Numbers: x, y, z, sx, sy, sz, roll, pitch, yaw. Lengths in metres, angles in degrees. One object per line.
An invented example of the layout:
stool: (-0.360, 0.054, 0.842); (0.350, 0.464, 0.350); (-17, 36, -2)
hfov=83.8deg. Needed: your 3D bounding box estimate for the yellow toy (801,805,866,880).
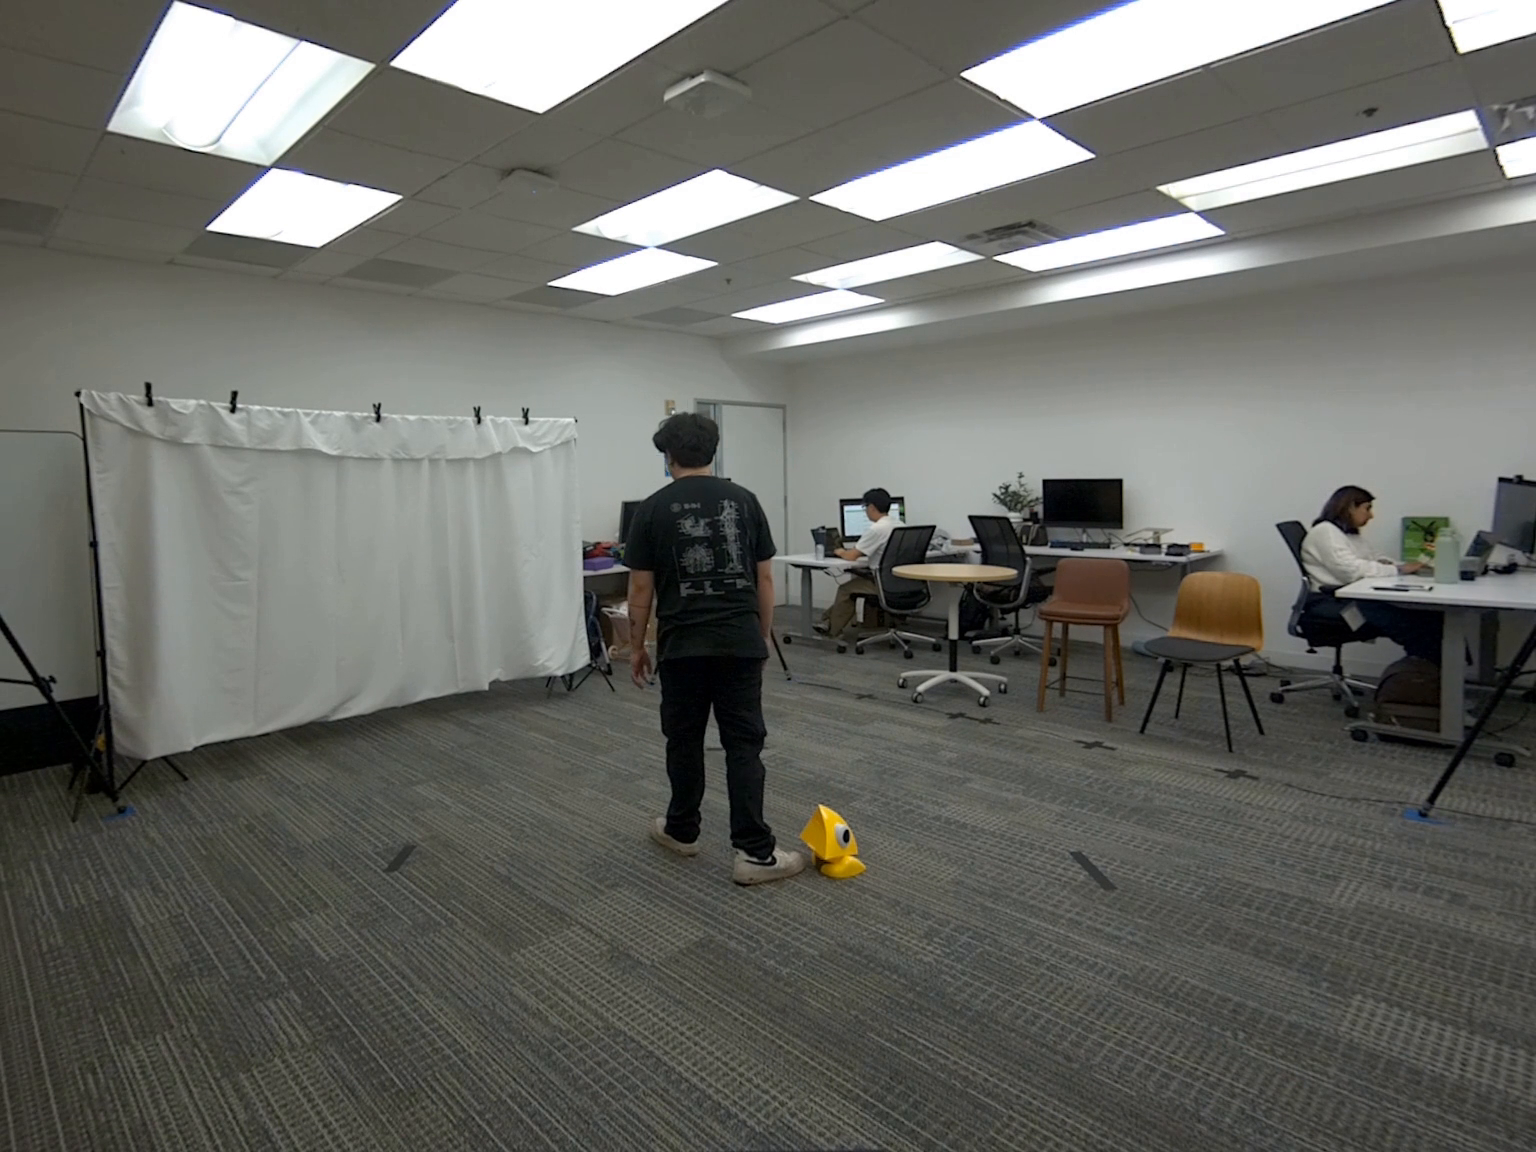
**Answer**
yellow toy: (0.238, 0.925, 3.063); (0.189, 0.230, 0.209); (-3, 4, -23)
